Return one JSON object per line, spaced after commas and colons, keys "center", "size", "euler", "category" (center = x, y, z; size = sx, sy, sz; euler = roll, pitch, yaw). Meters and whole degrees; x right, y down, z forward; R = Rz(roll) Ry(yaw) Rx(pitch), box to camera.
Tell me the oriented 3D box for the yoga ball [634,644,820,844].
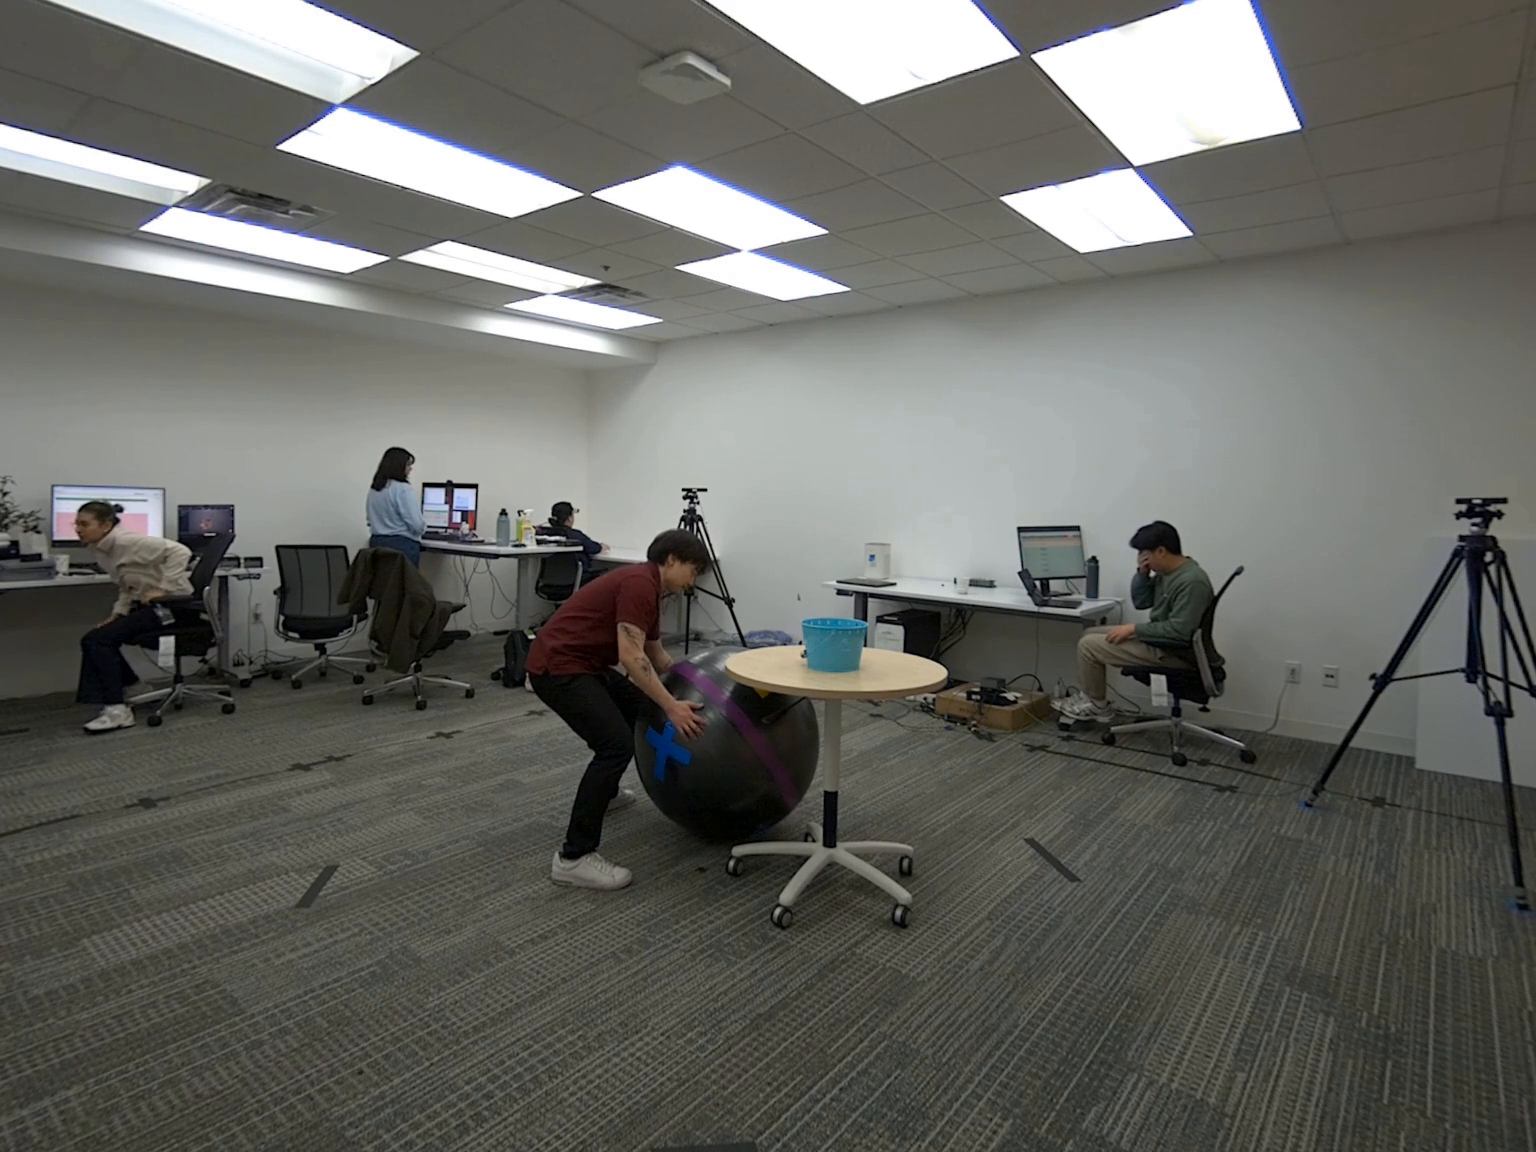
{"center": [-0.179, 0.674, 3.465], "size": [0.757, 0.756, 0.761], "euler": [1, 4, -2], "category": "yoga ball"}
